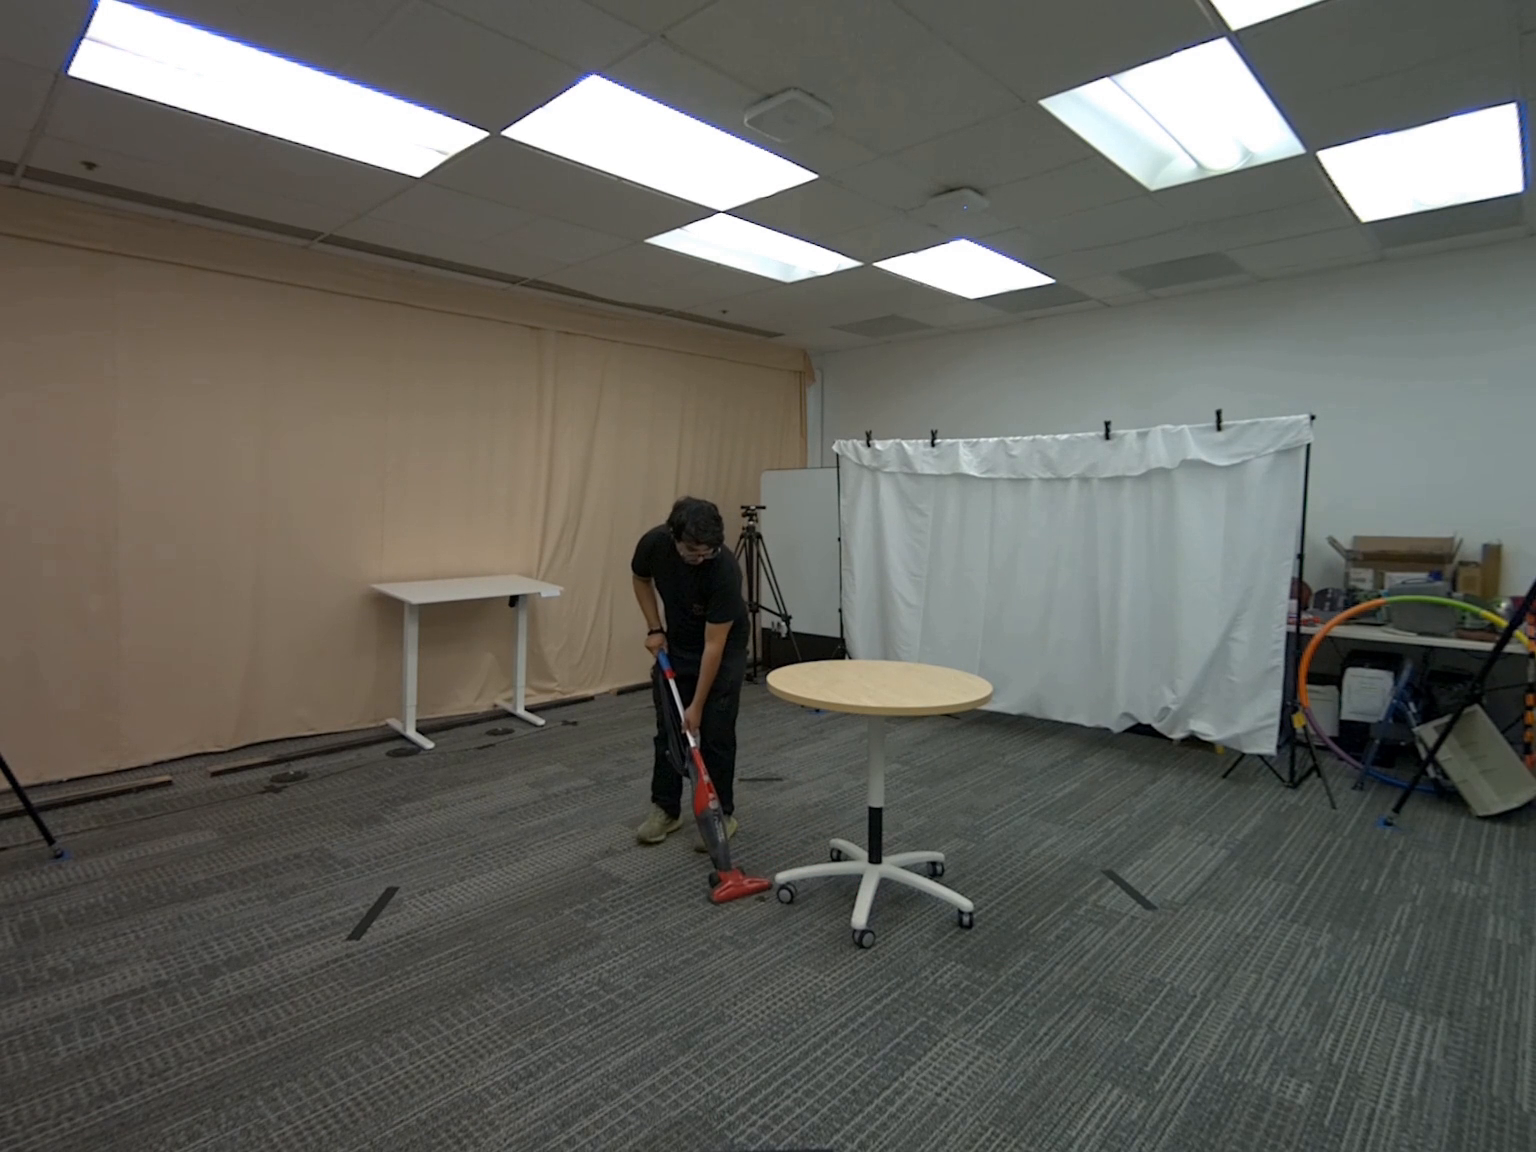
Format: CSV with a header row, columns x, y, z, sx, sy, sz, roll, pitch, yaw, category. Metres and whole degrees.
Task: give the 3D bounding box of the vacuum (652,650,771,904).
x,y,z,sx,sy,sz,roll,pitch,yaw,category
-0.301,0.685,3.305,0.246,1.076,0.144,-5,-34,-32,vacuum
